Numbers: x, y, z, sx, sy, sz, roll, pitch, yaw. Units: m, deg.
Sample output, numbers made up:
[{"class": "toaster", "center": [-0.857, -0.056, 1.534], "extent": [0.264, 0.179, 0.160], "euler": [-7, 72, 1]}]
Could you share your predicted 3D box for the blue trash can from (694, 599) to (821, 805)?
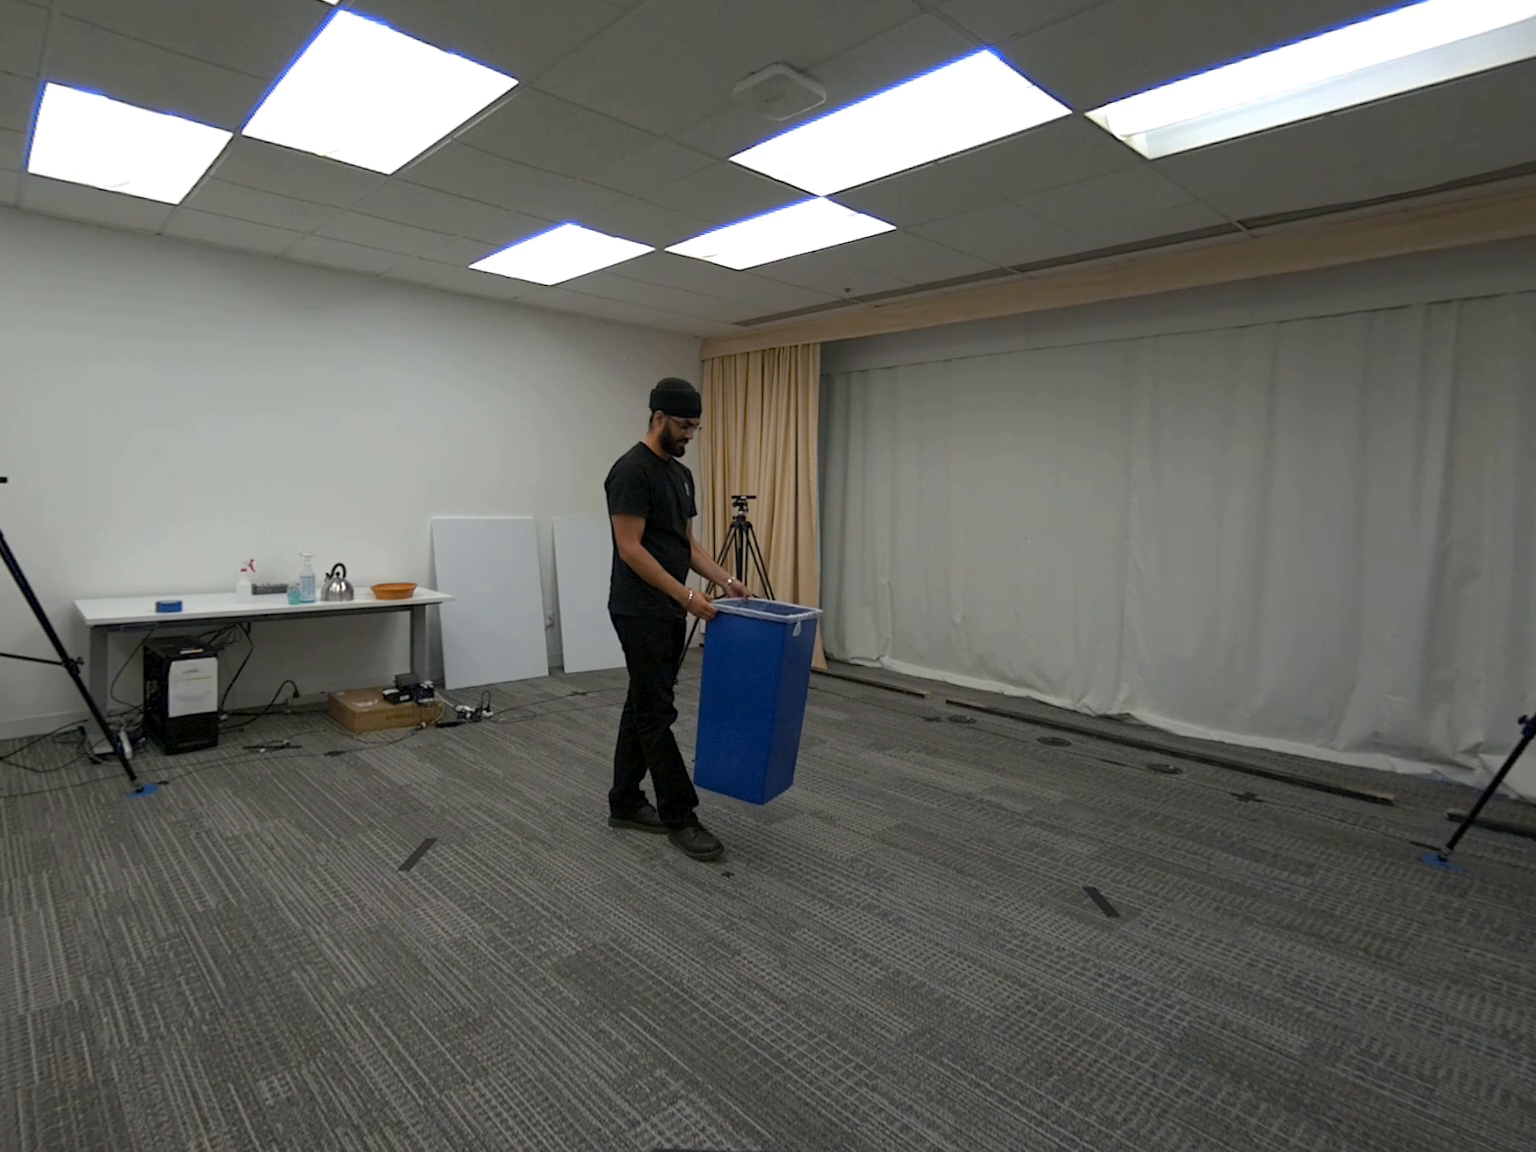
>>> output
[{"class": "blue trash can", "center": [-0.066, 0.472, 3.277], "extent": [0.382, 0.712, 0.371], "euler": [9, 4, 26]}]
